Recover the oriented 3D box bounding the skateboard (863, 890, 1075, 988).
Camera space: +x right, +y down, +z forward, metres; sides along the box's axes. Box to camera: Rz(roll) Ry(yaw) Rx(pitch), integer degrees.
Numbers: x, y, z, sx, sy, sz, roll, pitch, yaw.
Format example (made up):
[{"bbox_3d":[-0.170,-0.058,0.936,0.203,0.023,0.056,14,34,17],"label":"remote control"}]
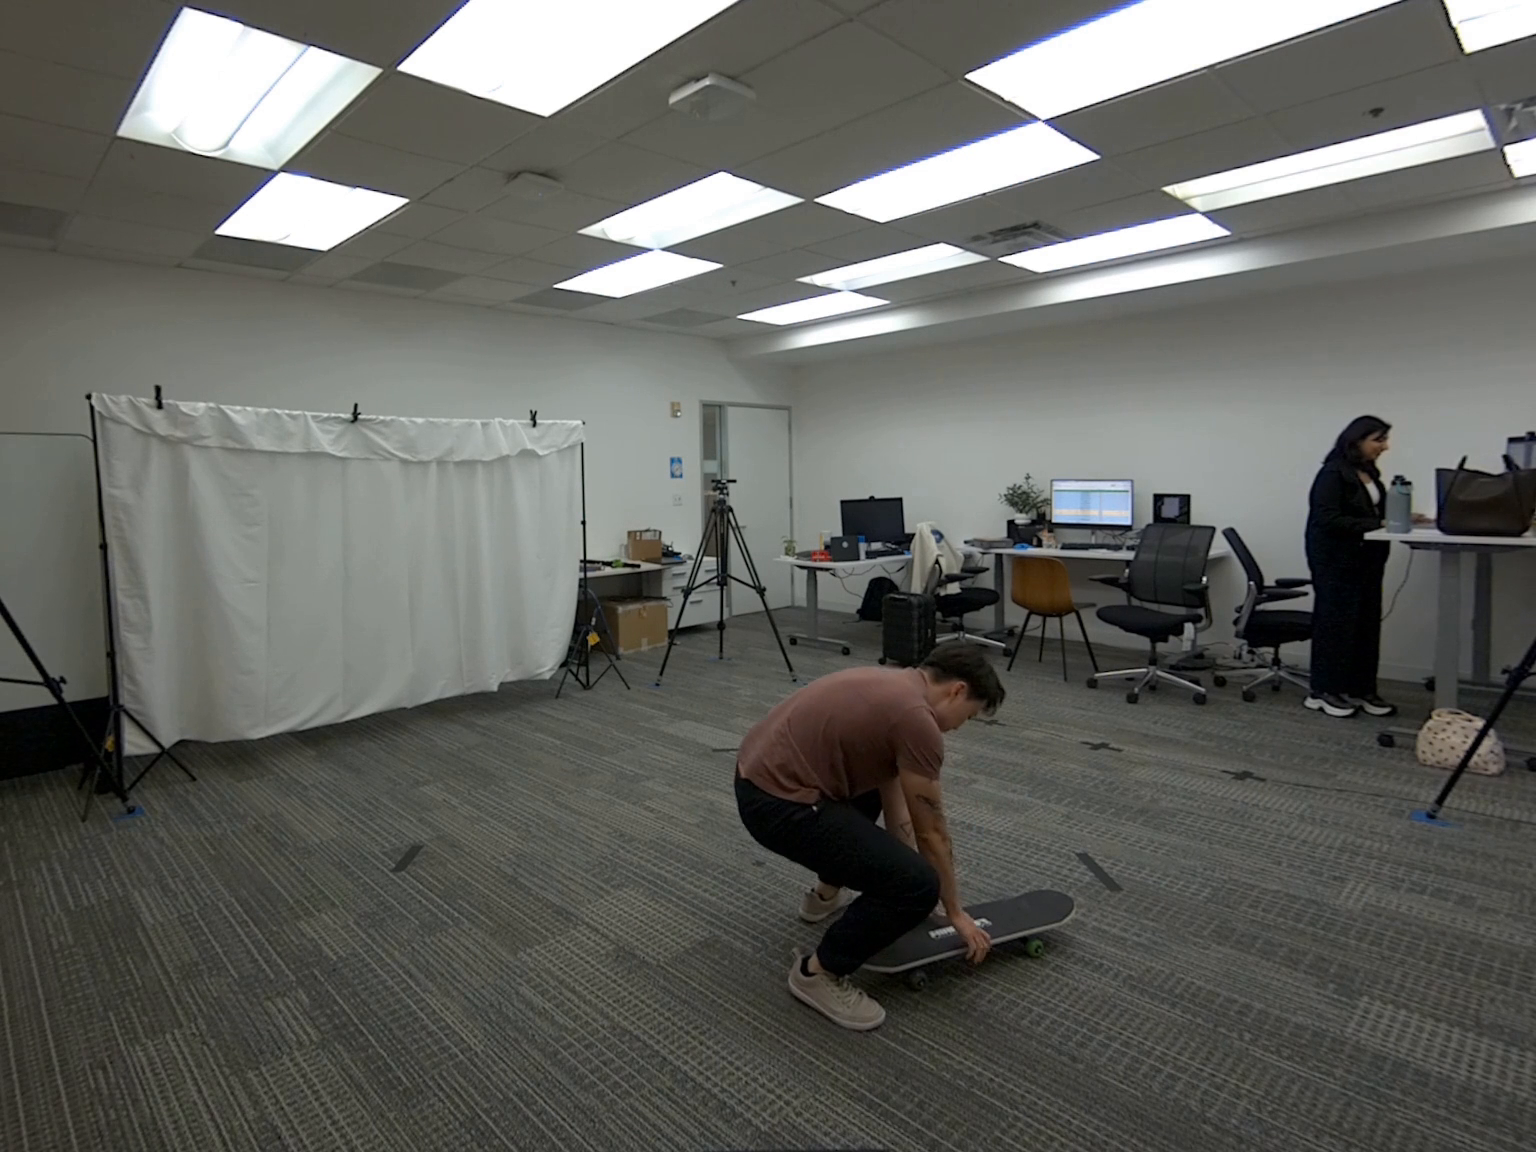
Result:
[{"bbox_3d":[0.557,1.048,2.474,0.772,0.110,0.197,-3,4,-20],"label":"skateboard"}]
